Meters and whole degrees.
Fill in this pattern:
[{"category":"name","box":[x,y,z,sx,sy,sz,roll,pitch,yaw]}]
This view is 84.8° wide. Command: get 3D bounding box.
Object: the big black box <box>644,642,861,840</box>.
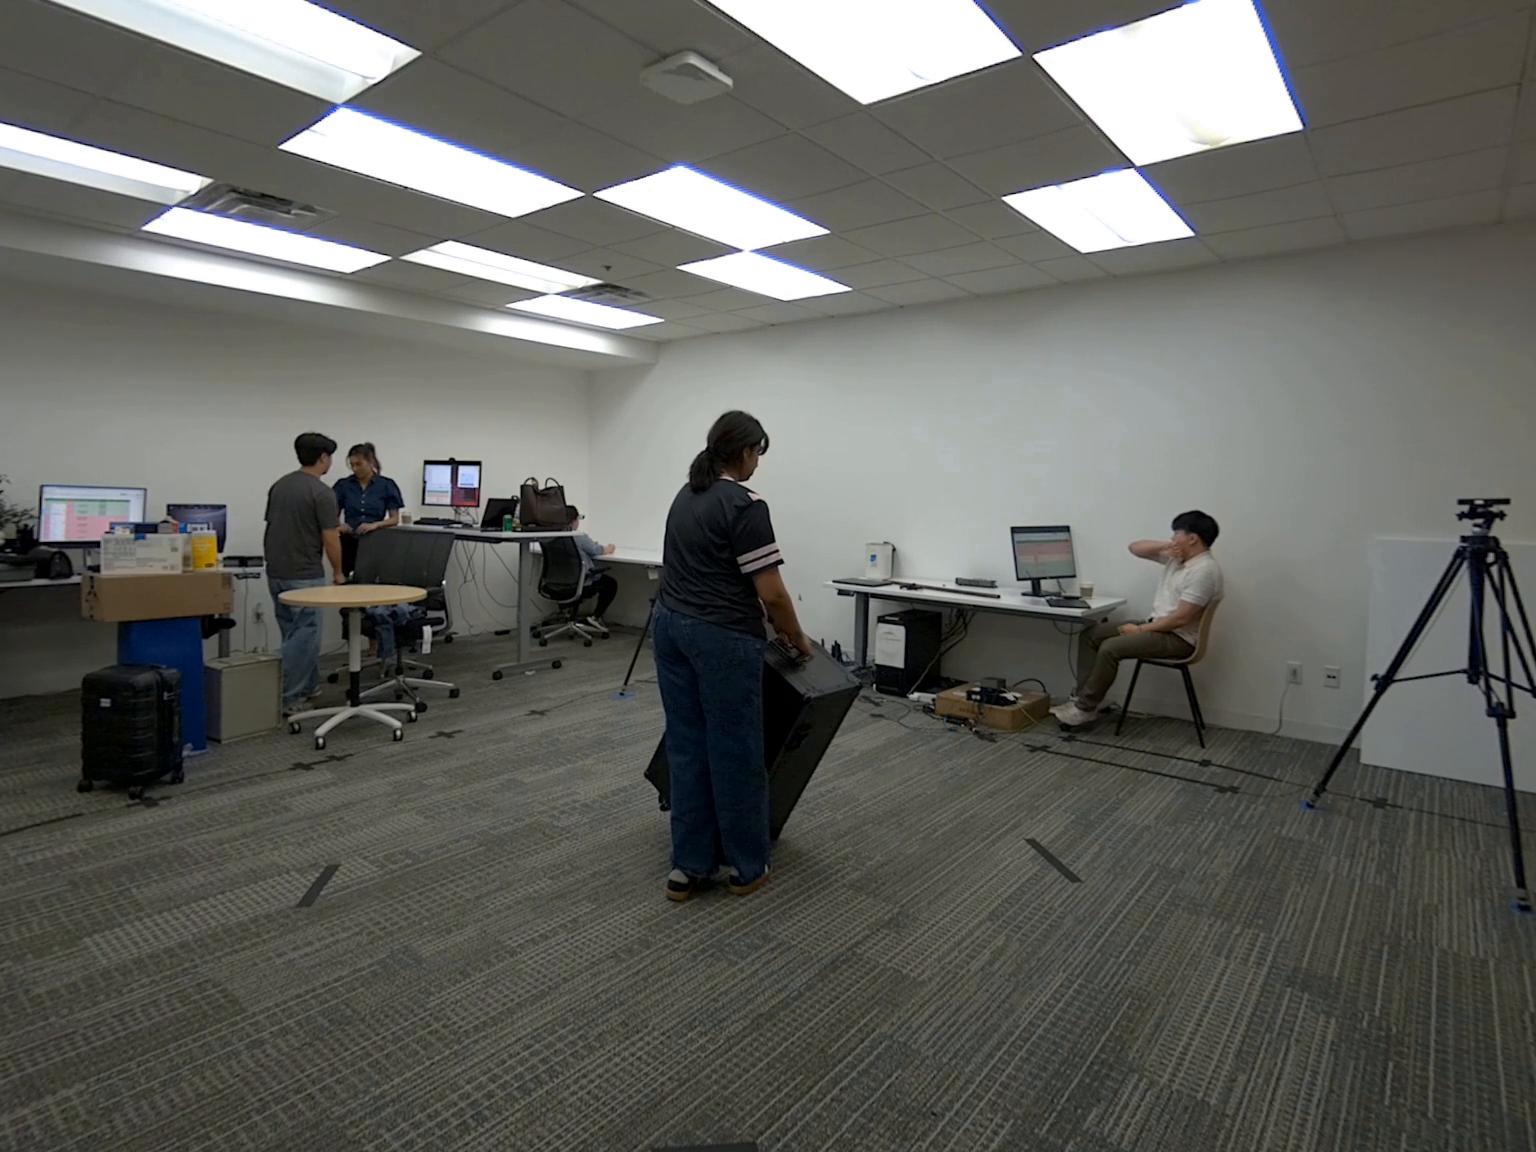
[{"category":"big black box","box":[-0.101,0.624,3.298,0.544,0.861,0.374,39,24,31]}]
